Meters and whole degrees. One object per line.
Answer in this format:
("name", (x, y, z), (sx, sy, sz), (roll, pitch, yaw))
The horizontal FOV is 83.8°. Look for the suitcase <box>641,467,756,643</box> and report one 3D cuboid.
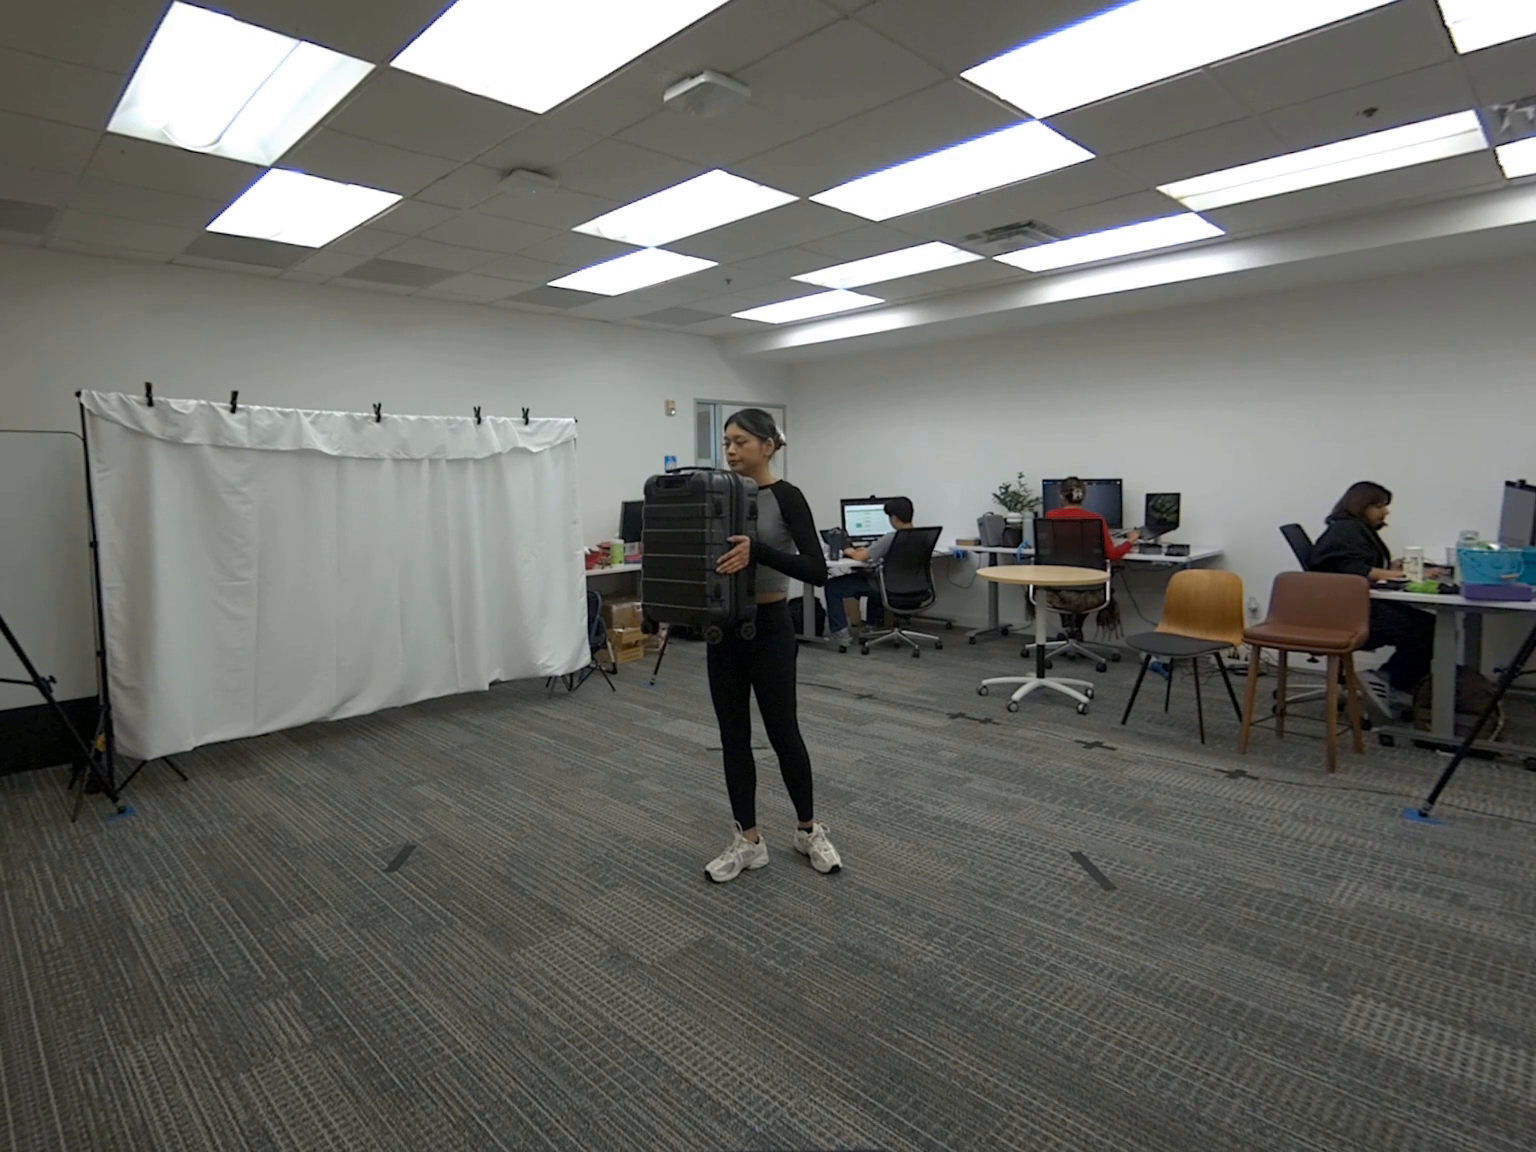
("suitcase", (-0.227, -0.080, 2.807), (0.386, 0.549, 0.241), (0, 0, 44))
